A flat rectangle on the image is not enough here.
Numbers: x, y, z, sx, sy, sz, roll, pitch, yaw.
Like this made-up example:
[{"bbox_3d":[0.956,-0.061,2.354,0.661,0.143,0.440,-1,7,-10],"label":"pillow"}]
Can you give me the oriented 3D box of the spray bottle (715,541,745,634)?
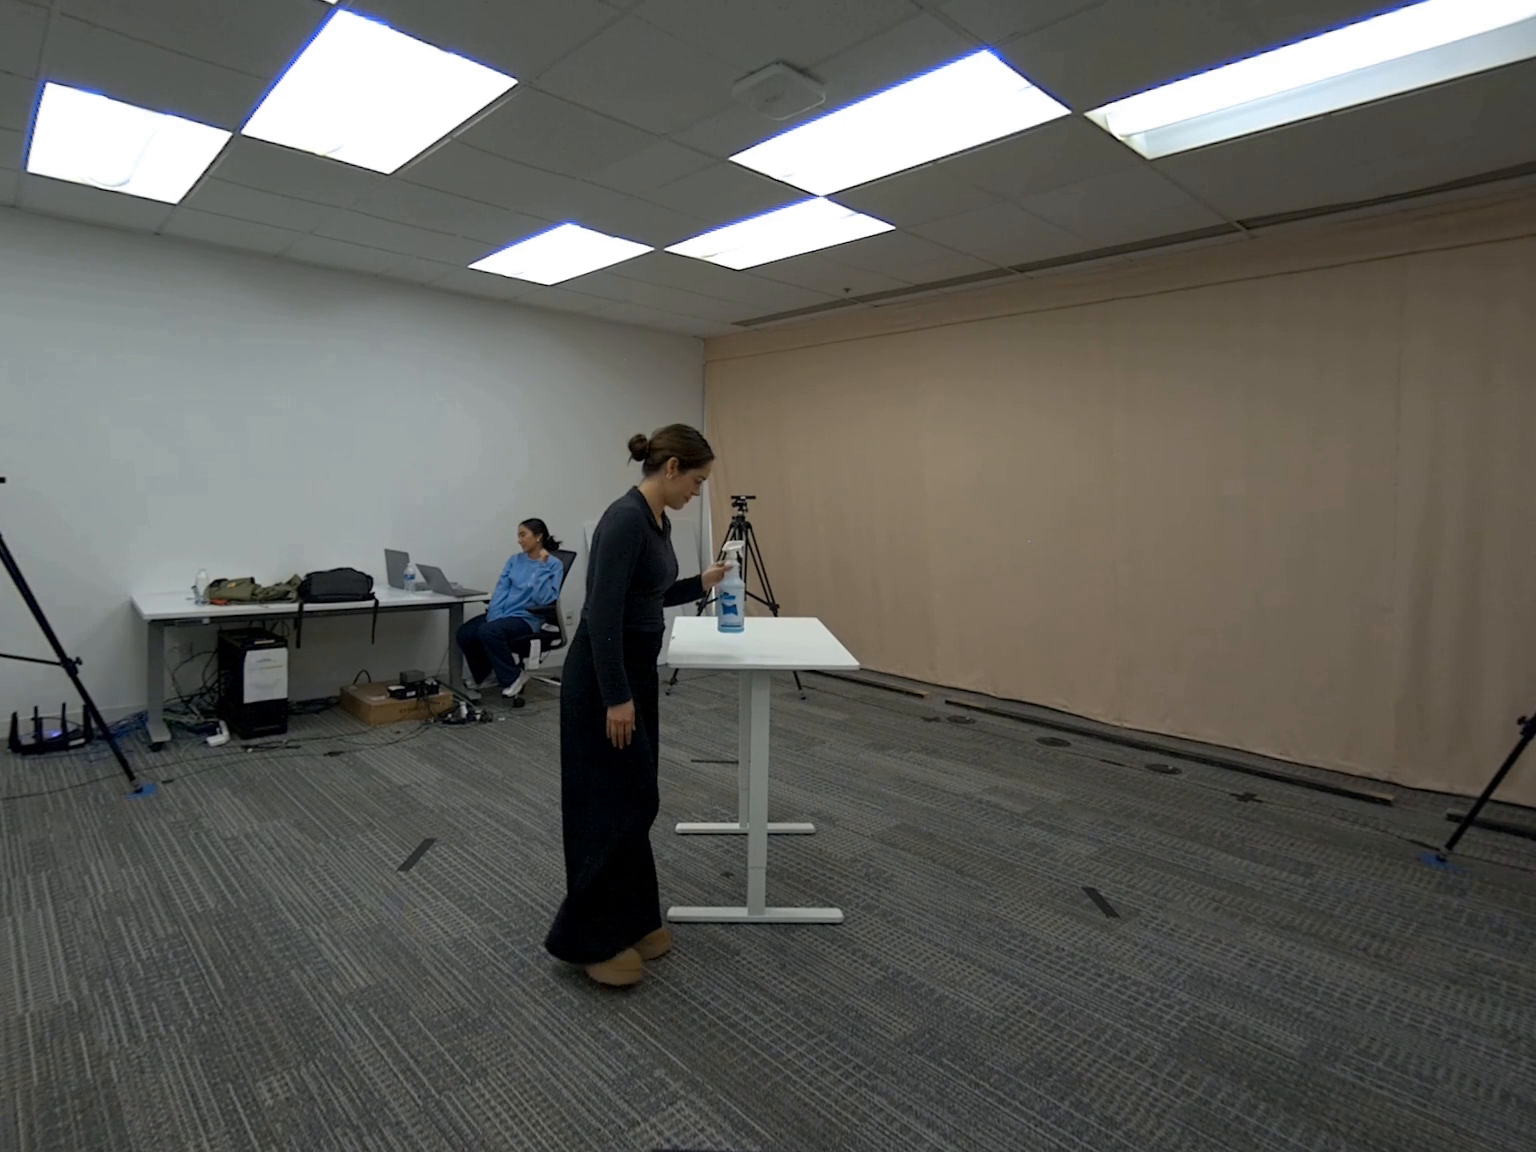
[{"bbox_3d":[-0.124,0.038,2.726,0.089,0.297,0.088,2,0,-19],"label":"spray bottle"}]
